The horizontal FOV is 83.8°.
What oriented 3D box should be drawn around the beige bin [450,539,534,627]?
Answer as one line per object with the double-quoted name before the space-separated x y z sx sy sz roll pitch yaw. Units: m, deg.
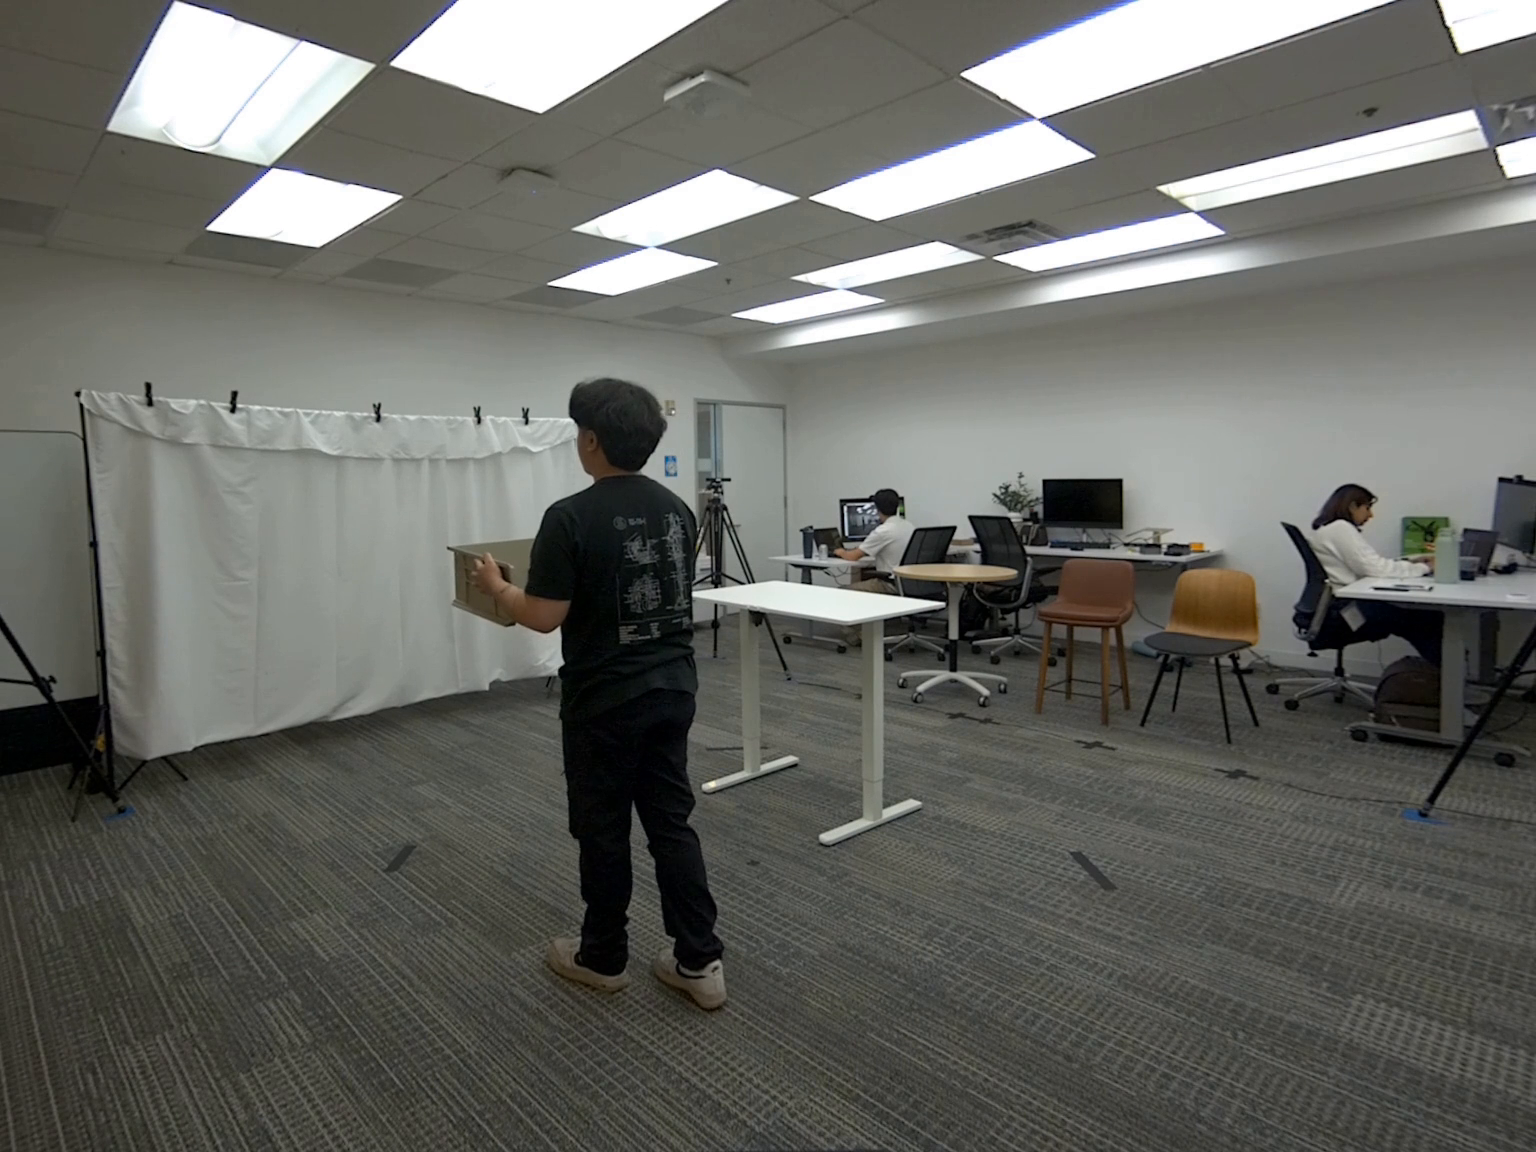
"beige bin" -0.662 0.004 2.567 0.412 0.187 0.390 -11 16 -44
